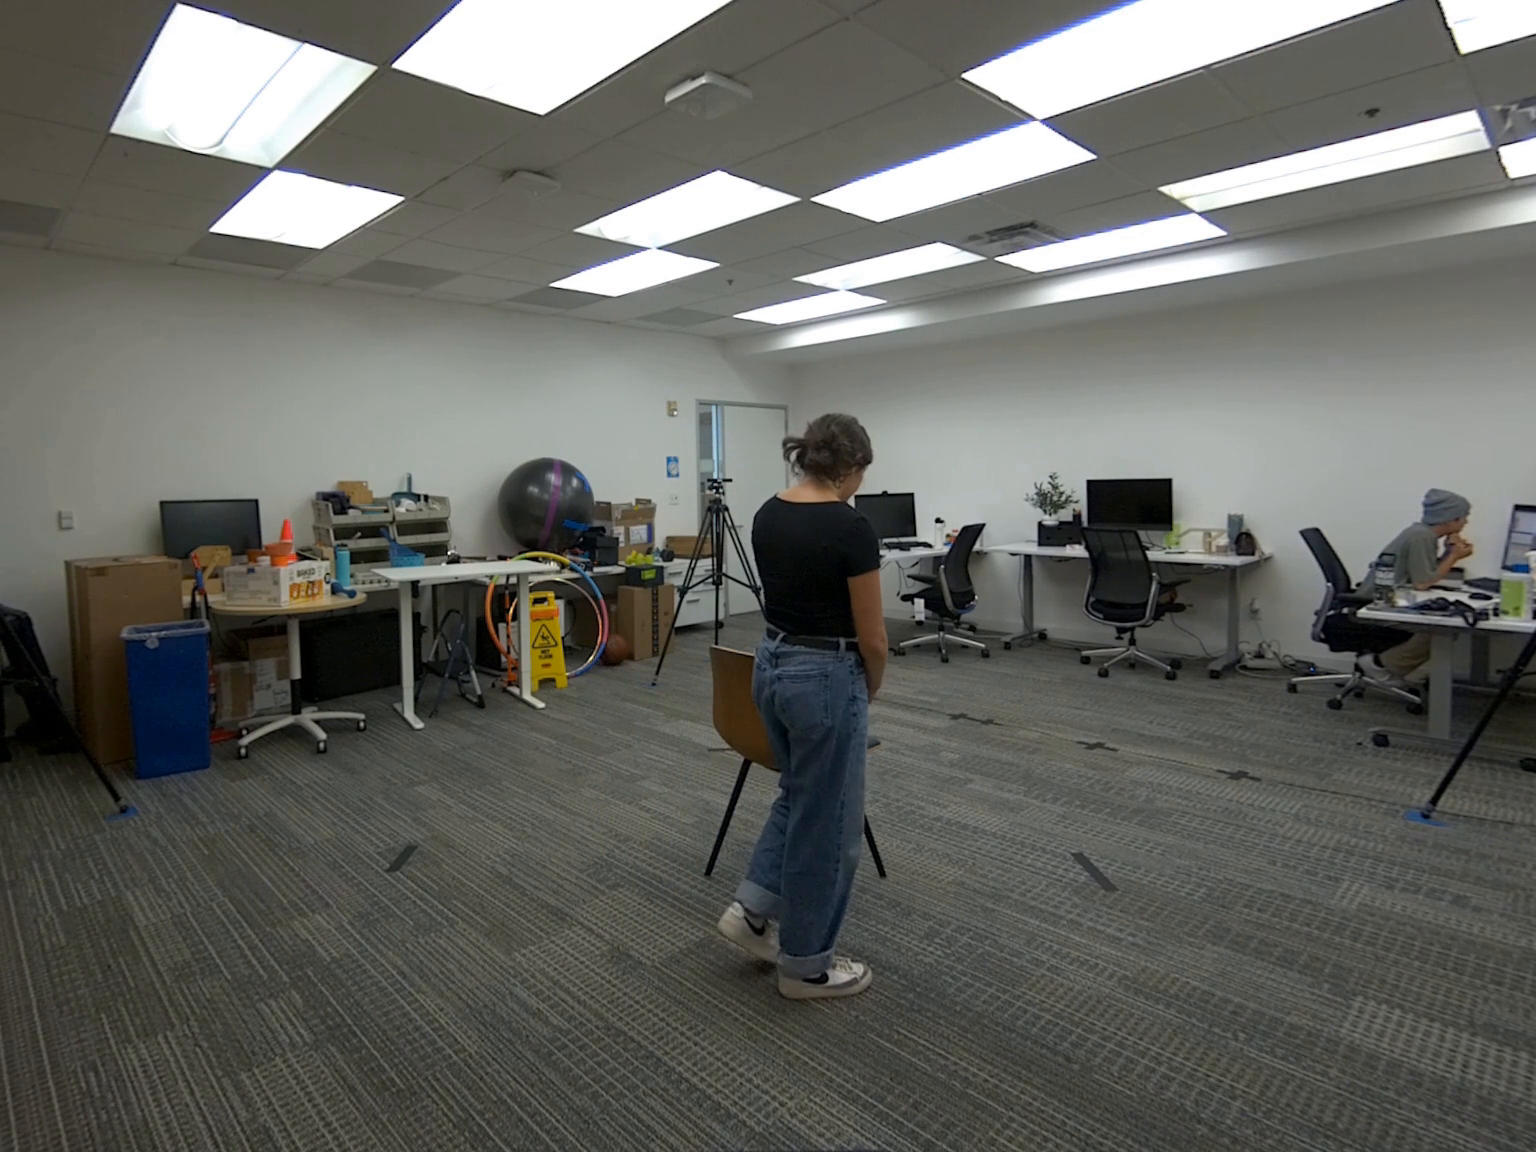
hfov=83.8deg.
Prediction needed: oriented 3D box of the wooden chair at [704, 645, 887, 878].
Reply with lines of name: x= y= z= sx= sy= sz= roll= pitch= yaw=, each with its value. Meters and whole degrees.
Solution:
wooden chair: x=0.093 y=0.633 z=2.978 sx=0.511 sy=0.872 sz=0.493 roll=-10 pitch=9 yaw=-43
